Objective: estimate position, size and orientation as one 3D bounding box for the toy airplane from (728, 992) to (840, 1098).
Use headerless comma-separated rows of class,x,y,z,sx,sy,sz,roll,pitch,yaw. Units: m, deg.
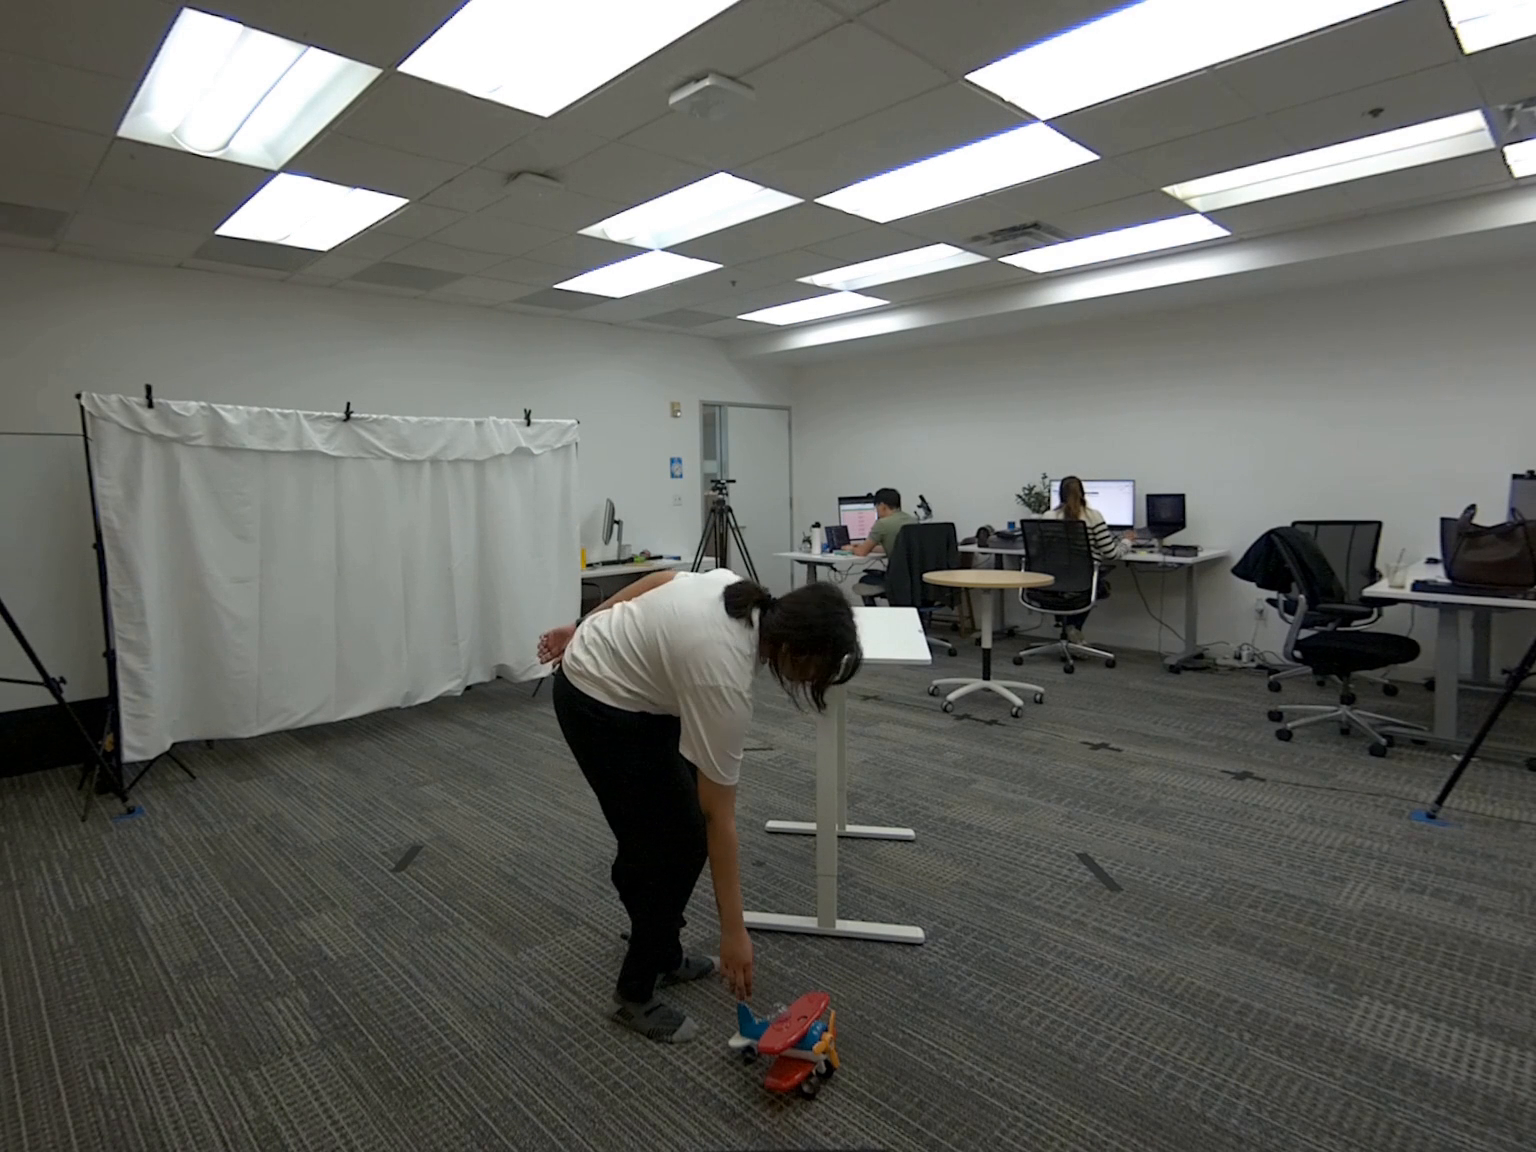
toy airplane,0.047,1.107,1.986,0.261,0.156,0.250,0,6,7
